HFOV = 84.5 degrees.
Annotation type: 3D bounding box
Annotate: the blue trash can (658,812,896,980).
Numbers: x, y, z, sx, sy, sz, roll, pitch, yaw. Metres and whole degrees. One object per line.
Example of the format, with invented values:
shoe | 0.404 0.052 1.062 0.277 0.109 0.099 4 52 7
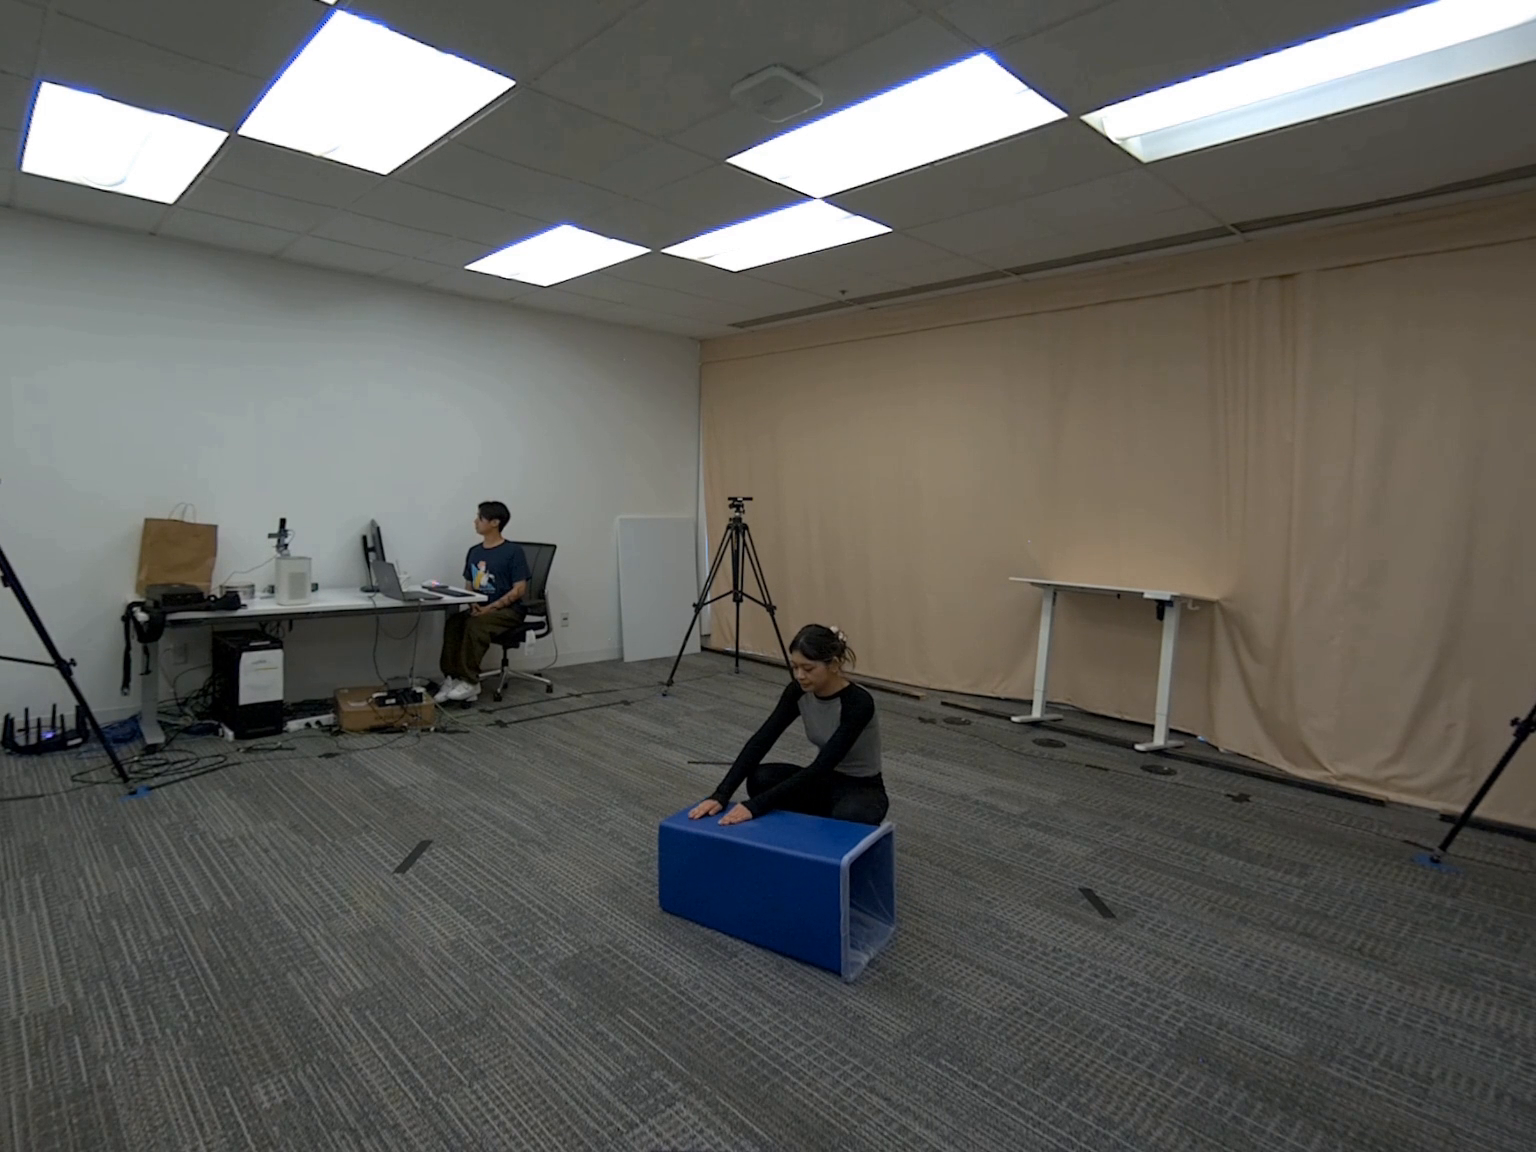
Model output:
blue trash can | 0.011 0.974 2.757 0.729 0.377 0.367 2 5 32
